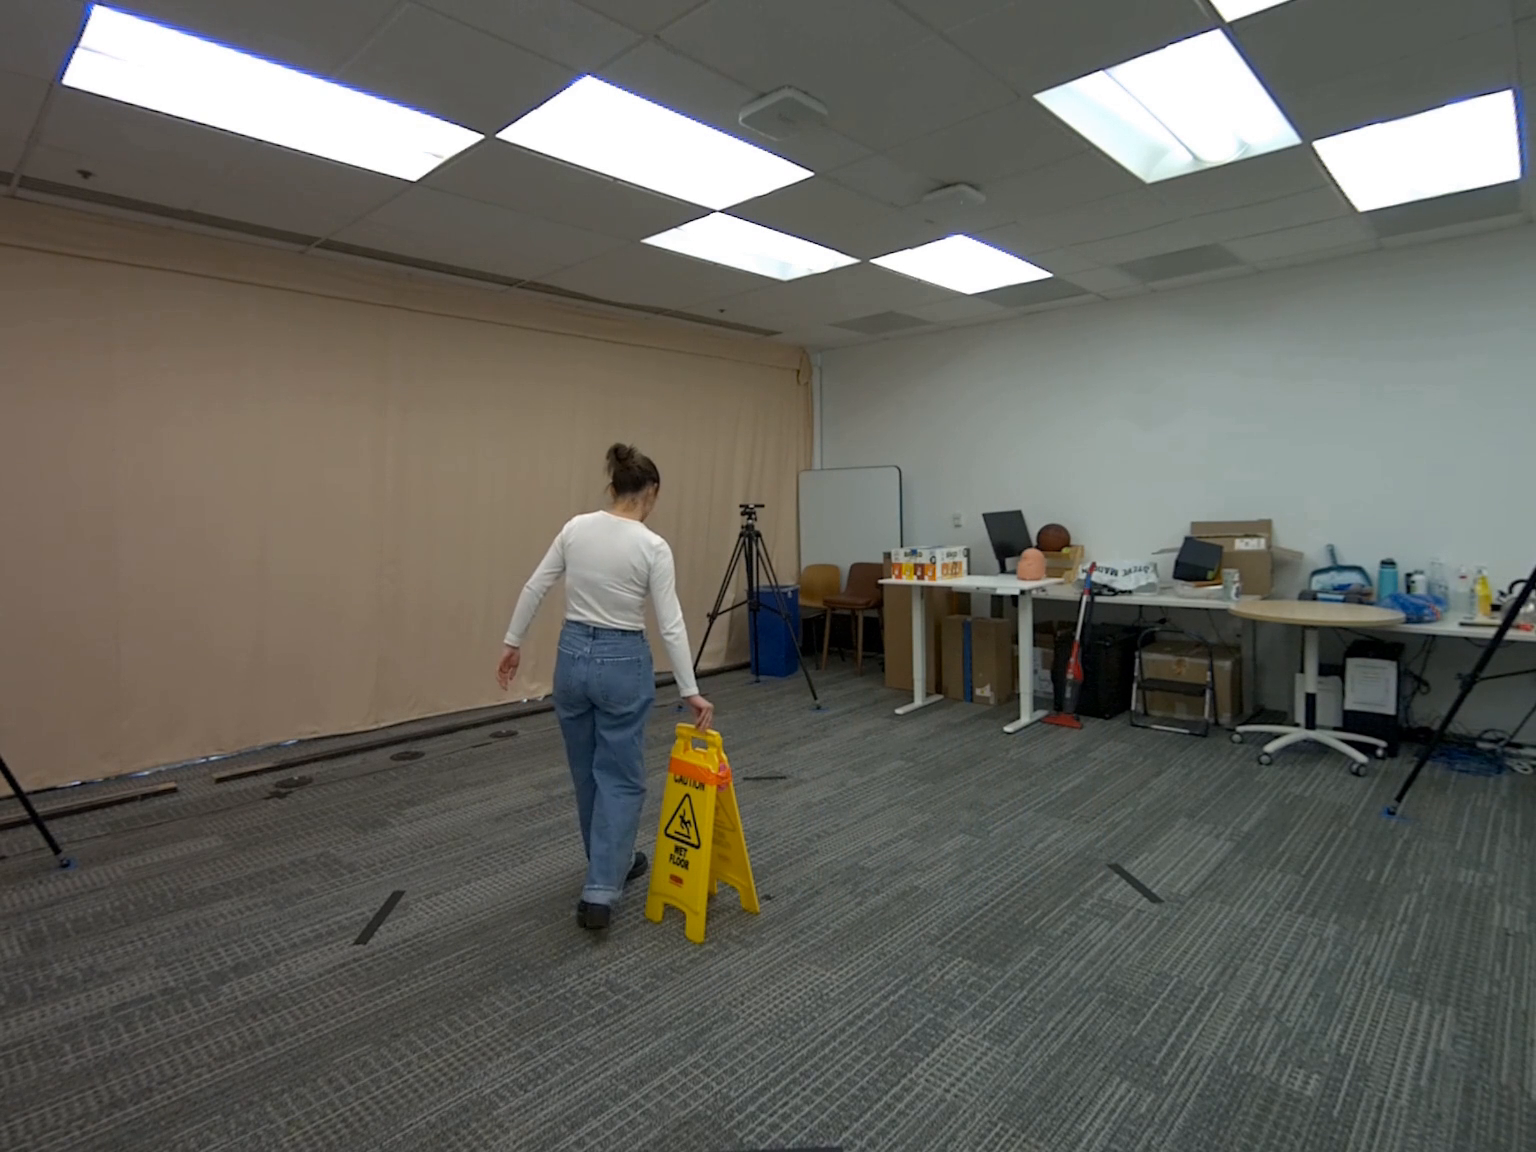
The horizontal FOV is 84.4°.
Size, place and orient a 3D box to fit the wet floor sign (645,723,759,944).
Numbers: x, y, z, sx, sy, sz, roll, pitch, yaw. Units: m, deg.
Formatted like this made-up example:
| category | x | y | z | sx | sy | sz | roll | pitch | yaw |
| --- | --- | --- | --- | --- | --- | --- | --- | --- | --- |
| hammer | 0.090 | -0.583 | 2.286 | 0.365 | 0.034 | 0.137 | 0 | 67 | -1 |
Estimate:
| category | x | y | z | sx | sy | sz | roll | pitch | yaw |
| --- | --- | --- | --- | --- | --- | --- | --- | --- | --- |
| wet floor sign | -0.226 | 0.832 | 2.843 | 0.291 | 0.645 | 0.281 | 1 | 4 | 43 |
